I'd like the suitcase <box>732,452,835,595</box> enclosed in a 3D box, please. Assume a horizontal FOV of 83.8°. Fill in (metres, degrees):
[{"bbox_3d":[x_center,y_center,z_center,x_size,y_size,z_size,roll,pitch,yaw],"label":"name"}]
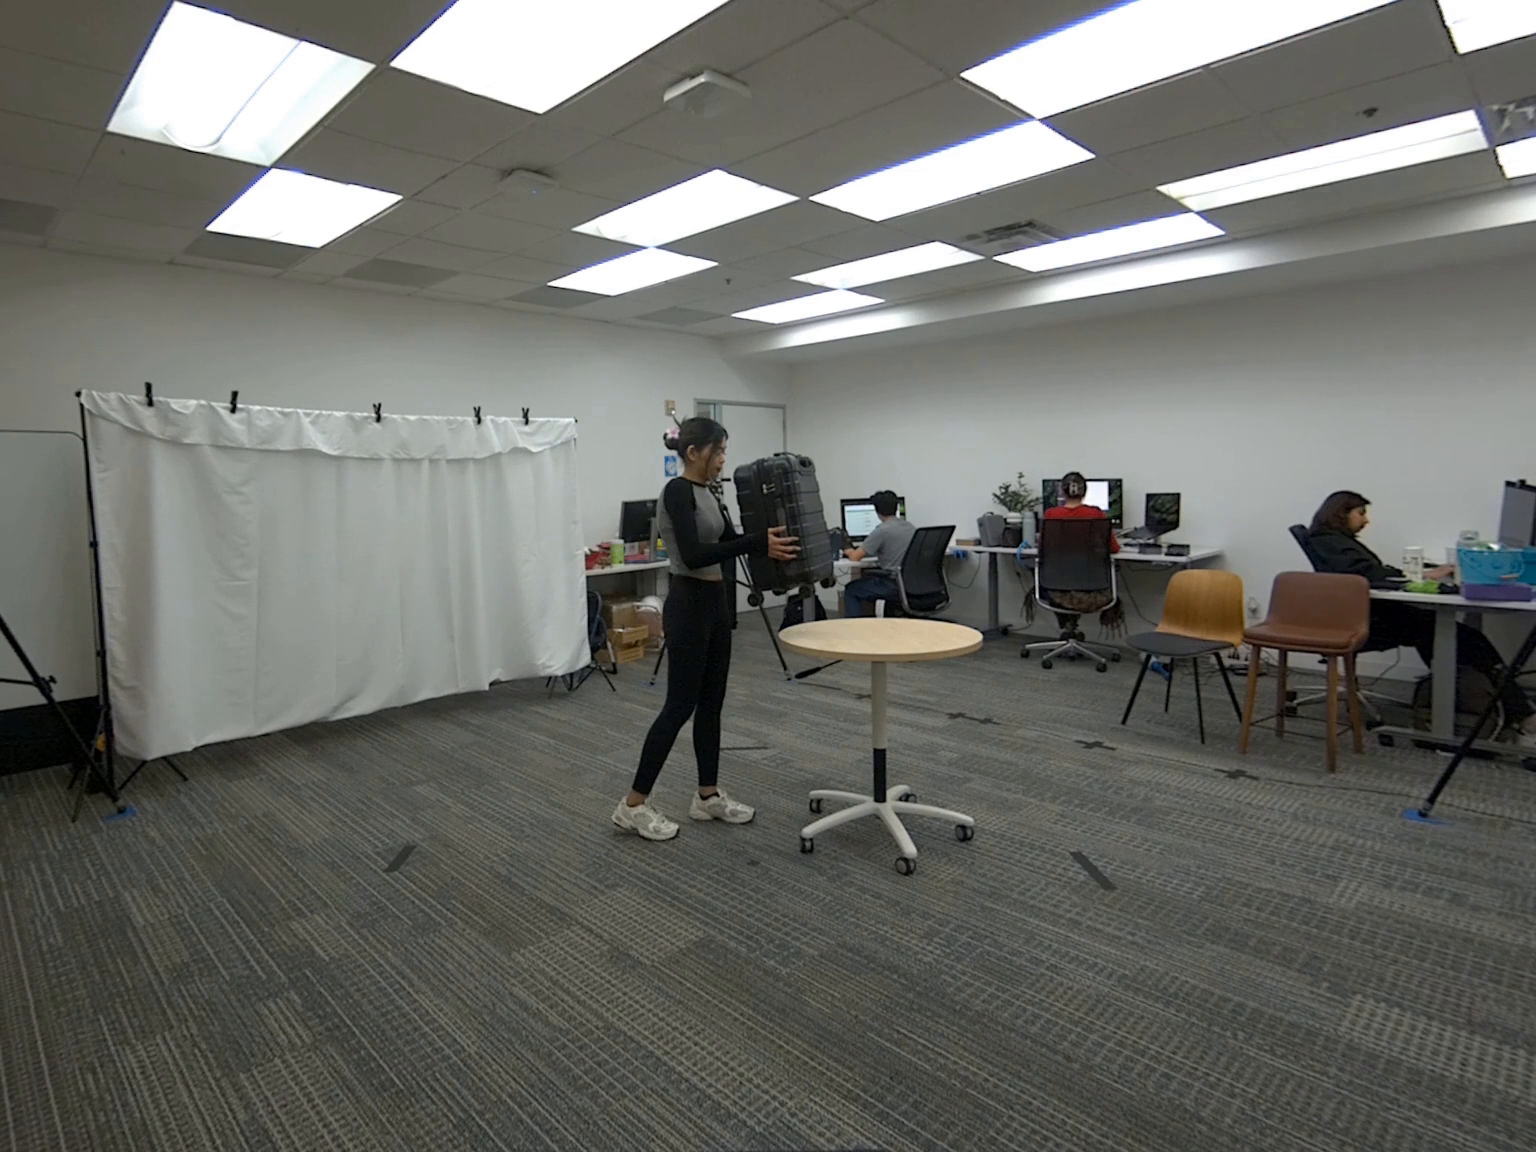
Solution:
[{"bbox_3d":[0.058,-0.197,3.302,0.253,0.548,0.369,-8,3,23],"label":"suitcase"}]
